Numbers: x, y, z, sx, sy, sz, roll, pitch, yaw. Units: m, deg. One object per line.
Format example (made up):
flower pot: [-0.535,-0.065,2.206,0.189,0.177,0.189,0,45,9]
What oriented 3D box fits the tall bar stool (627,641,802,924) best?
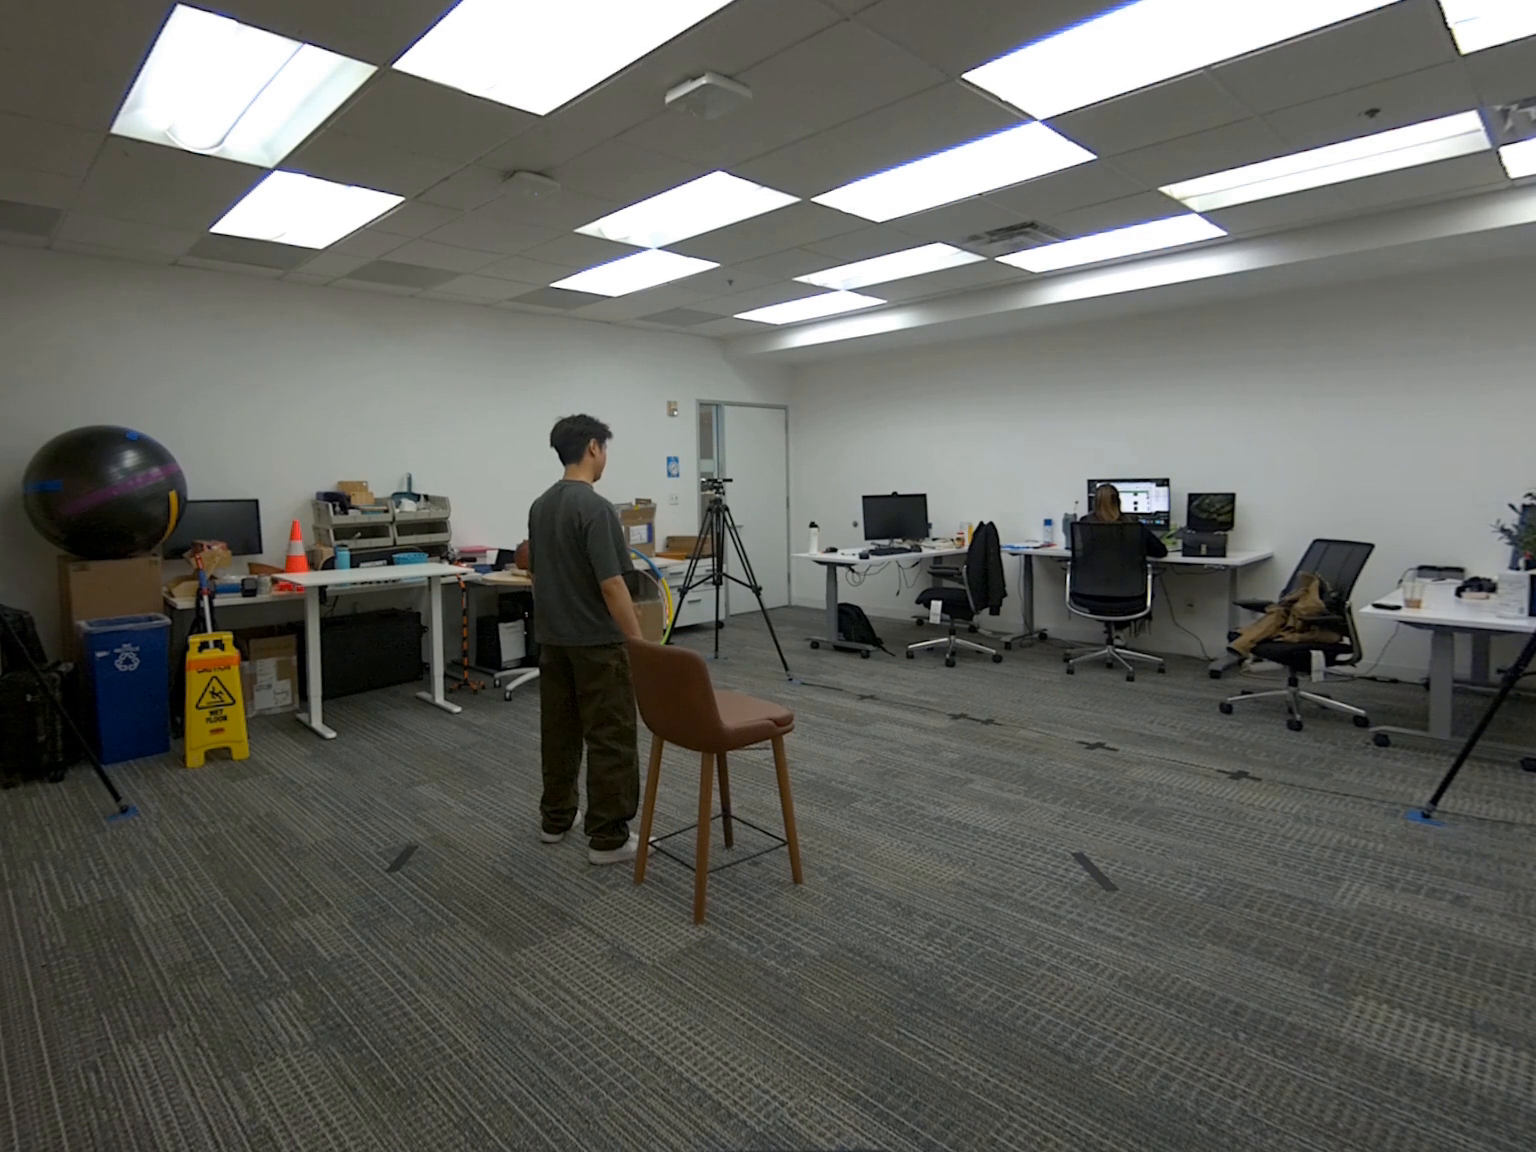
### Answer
tall bar stool: [-0.185,0.634,2.936,0.456,0.886,0.470,-6,7,-39]
